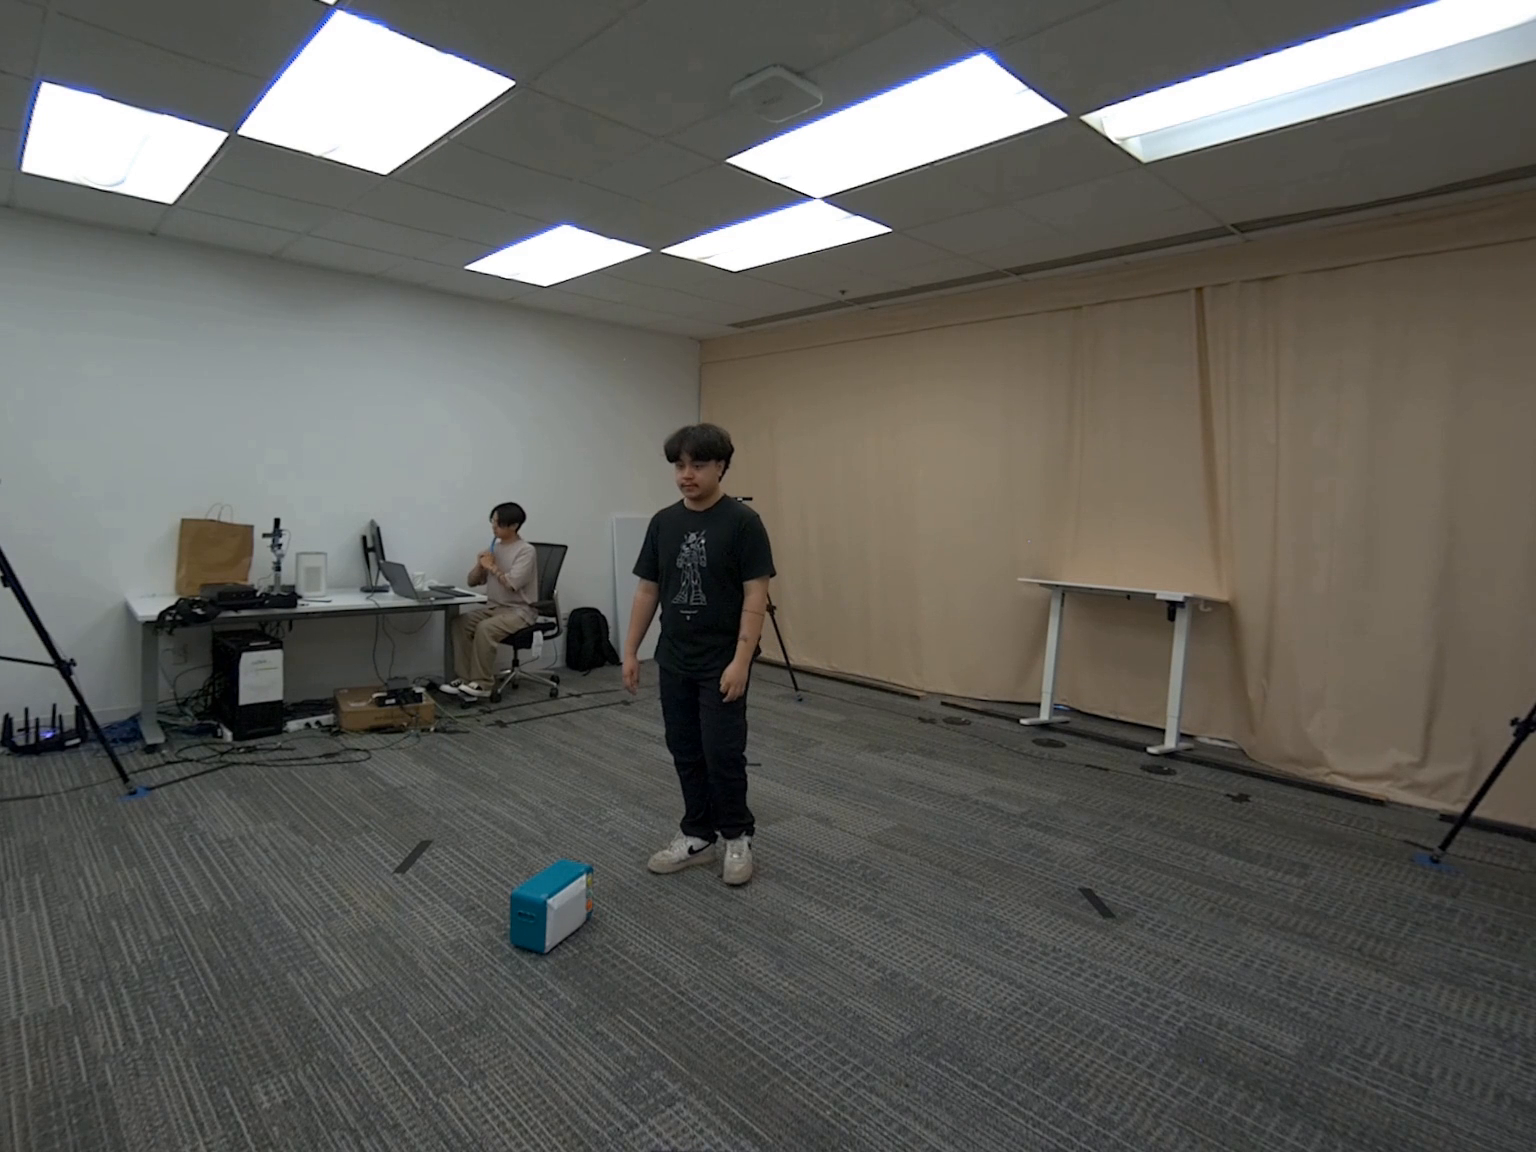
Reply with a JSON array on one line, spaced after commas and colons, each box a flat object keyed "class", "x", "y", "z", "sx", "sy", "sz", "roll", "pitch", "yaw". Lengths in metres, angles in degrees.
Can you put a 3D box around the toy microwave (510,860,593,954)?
[{"class": "toy microwave", "x": -0.681, "y": 1.045, "z": 2.666, "sx": 0.155, "sy": 0.183, "sz": 0.282, "roll": 3, "pitch": 5, "yaw": 22}]
